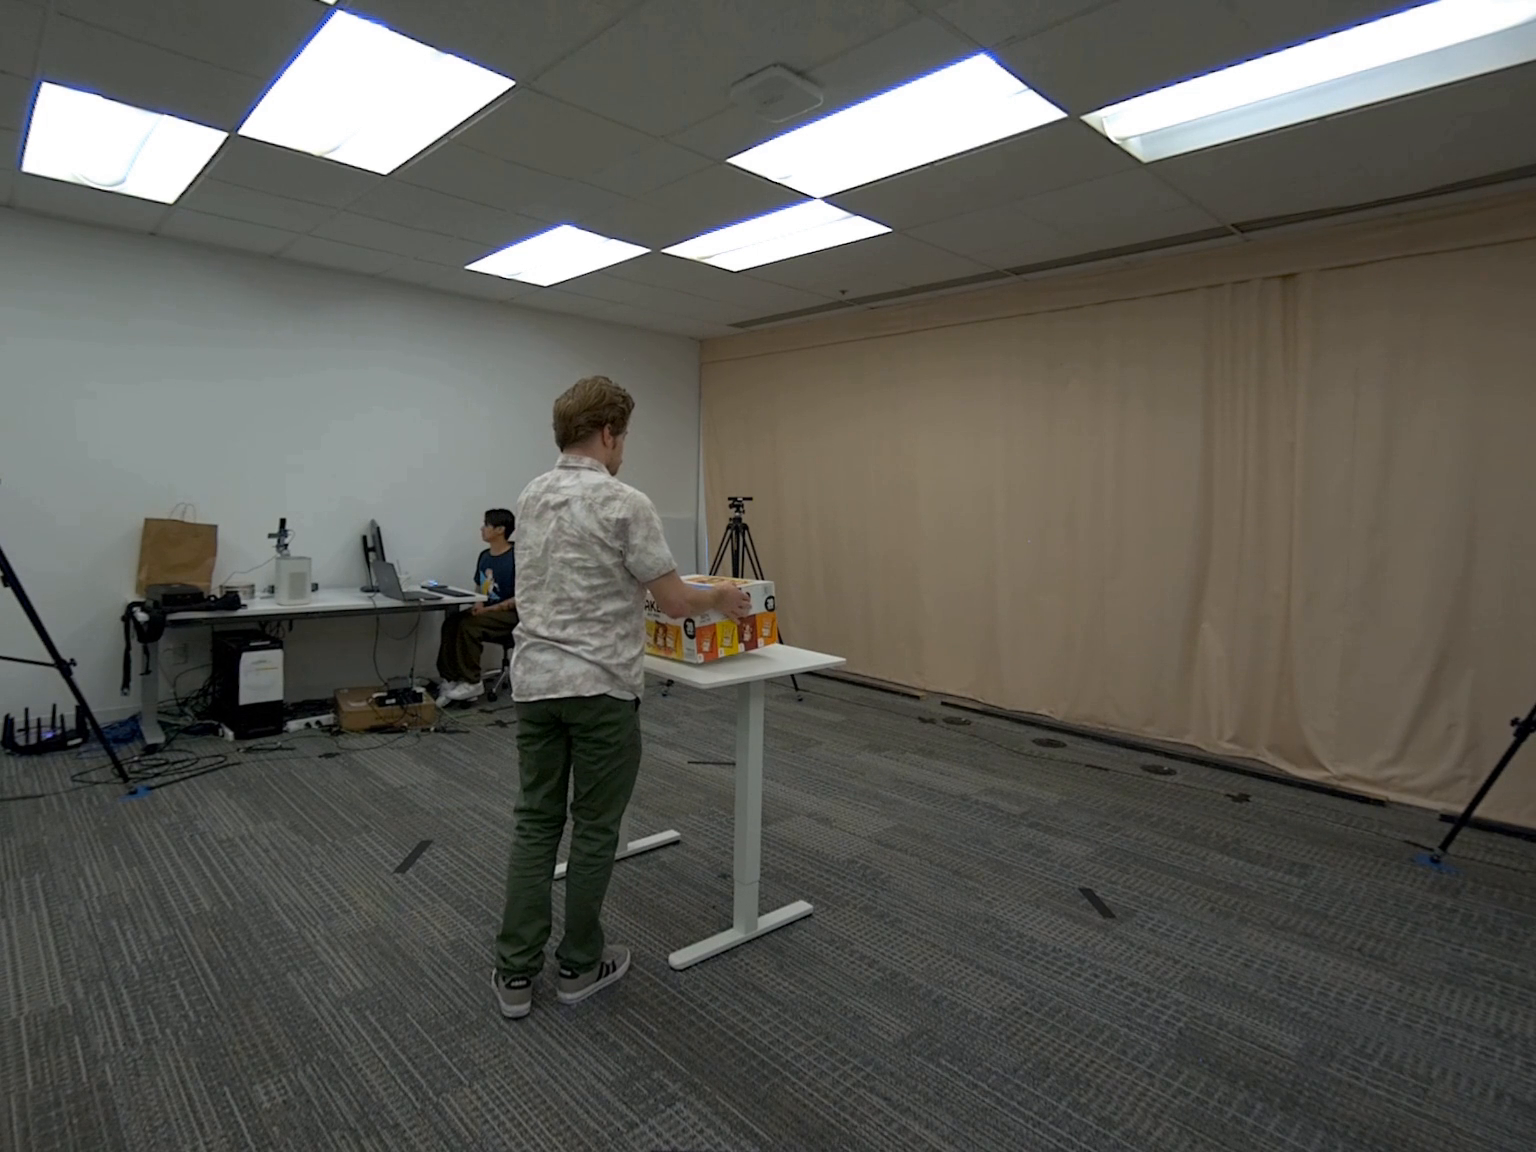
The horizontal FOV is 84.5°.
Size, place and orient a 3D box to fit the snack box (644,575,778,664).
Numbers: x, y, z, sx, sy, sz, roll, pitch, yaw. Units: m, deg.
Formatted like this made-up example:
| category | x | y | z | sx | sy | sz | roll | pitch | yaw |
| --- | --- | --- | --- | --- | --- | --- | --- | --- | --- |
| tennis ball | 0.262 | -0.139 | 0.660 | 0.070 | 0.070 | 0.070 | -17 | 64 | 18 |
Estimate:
| category | x | y | z | sx | sy | sz | roll | pitch | yaw |
| --- | --- | --- | --- | --- | --- | --- | --- | --- | --- |
| snack box | -0.246 | 0.128 | 2.755 | 0.333 | 0.204 | 0.415 | -10 | 10 | -42 |
